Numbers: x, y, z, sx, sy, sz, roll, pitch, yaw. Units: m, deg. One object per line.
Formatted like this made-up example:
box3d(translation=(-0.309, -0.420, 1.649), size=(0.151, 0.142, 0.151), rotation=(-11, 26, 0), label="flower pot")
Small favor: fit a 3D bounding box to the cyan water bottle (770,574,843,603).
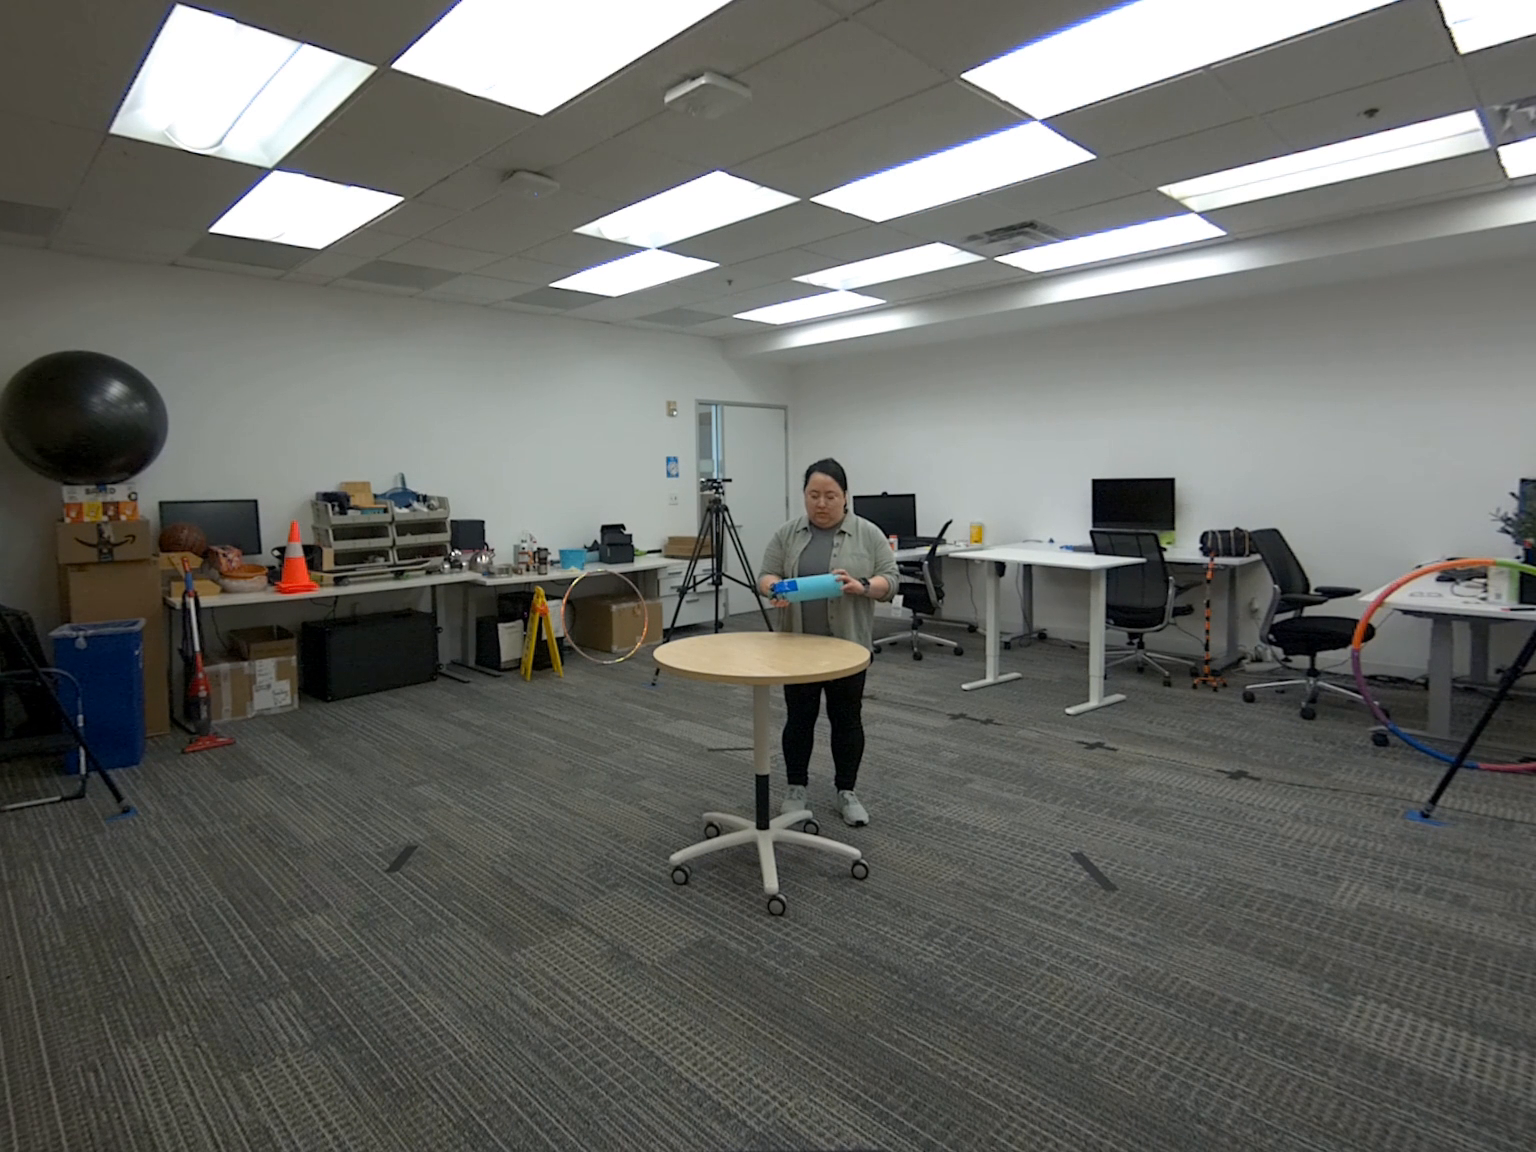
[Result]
box3d(translation=(0.139, 0.053, 3.274), size=(0.282, 0.092, 0.093), rotation=(-7, 6, -5), label="cyan water bottle")
